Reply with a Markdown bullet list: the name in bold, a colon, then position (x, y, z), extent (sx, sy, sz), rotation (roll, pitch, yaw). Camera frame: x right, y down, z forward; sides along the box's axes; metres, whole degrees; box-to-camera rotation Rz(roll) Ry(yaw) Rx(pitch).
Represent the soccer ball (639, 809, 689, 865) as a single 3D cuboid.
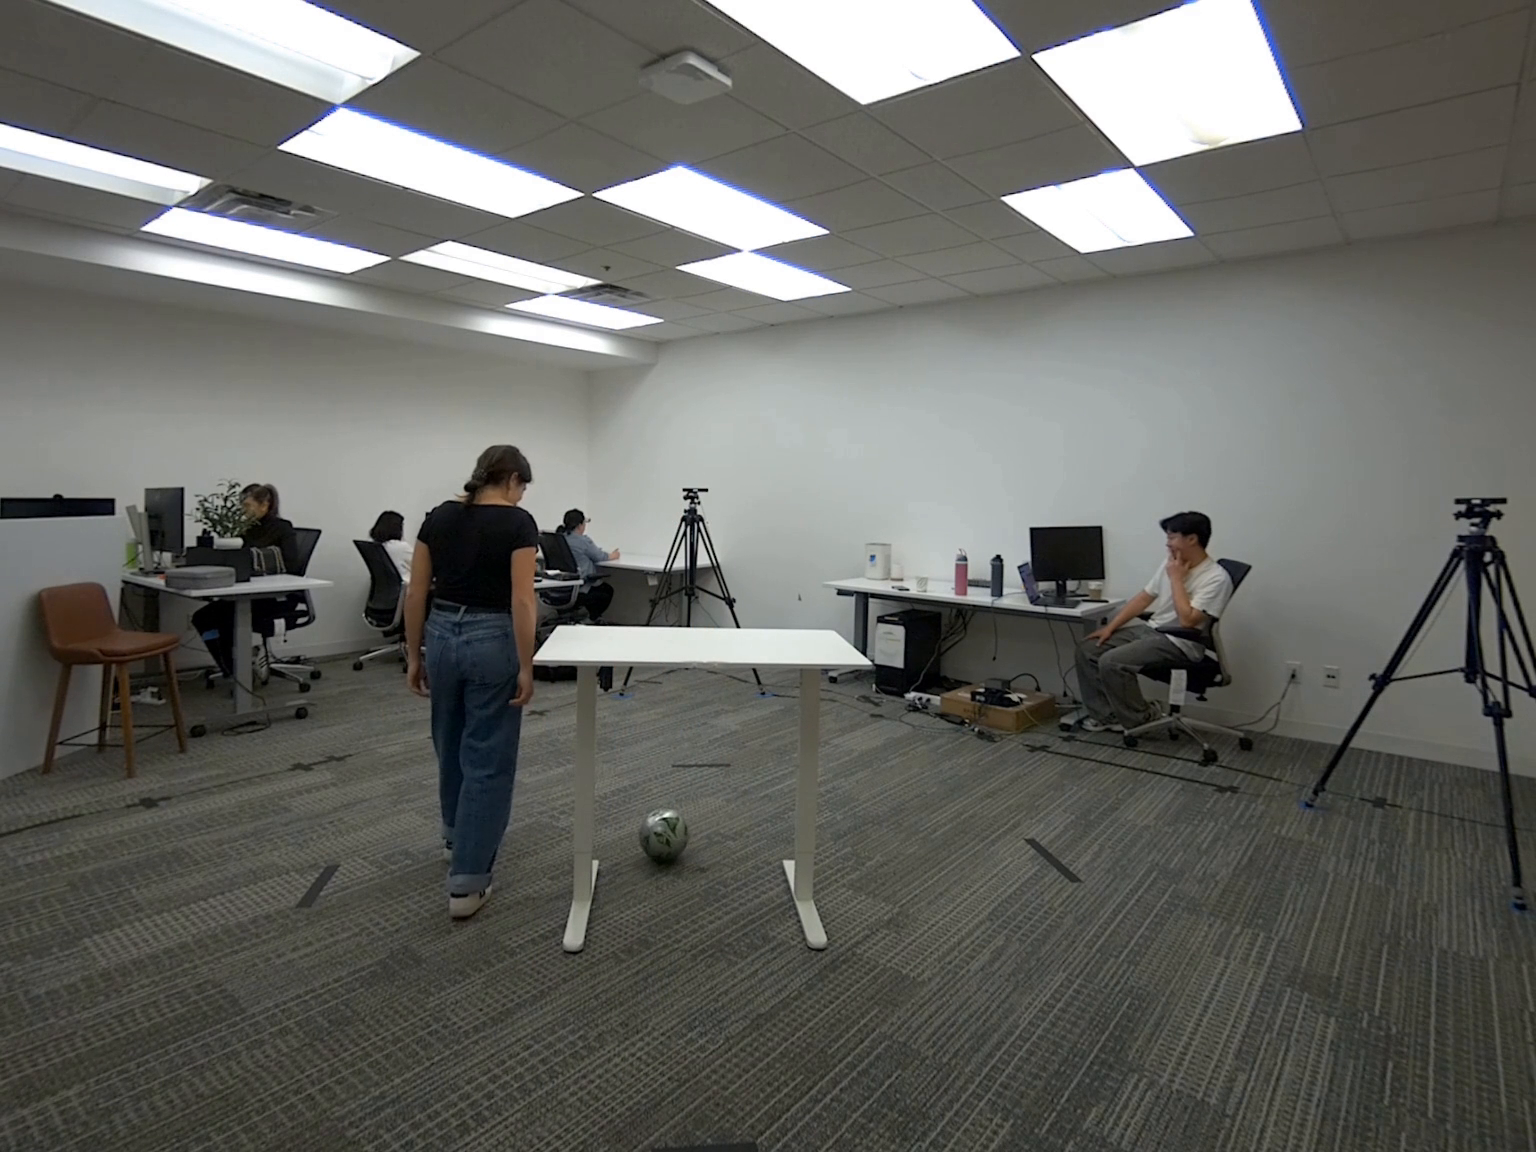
- **soccer ball**: position (-0.390, 0.972, 3.186), extent (0.187, 0.187, 0.188), rotation (1, 4, -2)
